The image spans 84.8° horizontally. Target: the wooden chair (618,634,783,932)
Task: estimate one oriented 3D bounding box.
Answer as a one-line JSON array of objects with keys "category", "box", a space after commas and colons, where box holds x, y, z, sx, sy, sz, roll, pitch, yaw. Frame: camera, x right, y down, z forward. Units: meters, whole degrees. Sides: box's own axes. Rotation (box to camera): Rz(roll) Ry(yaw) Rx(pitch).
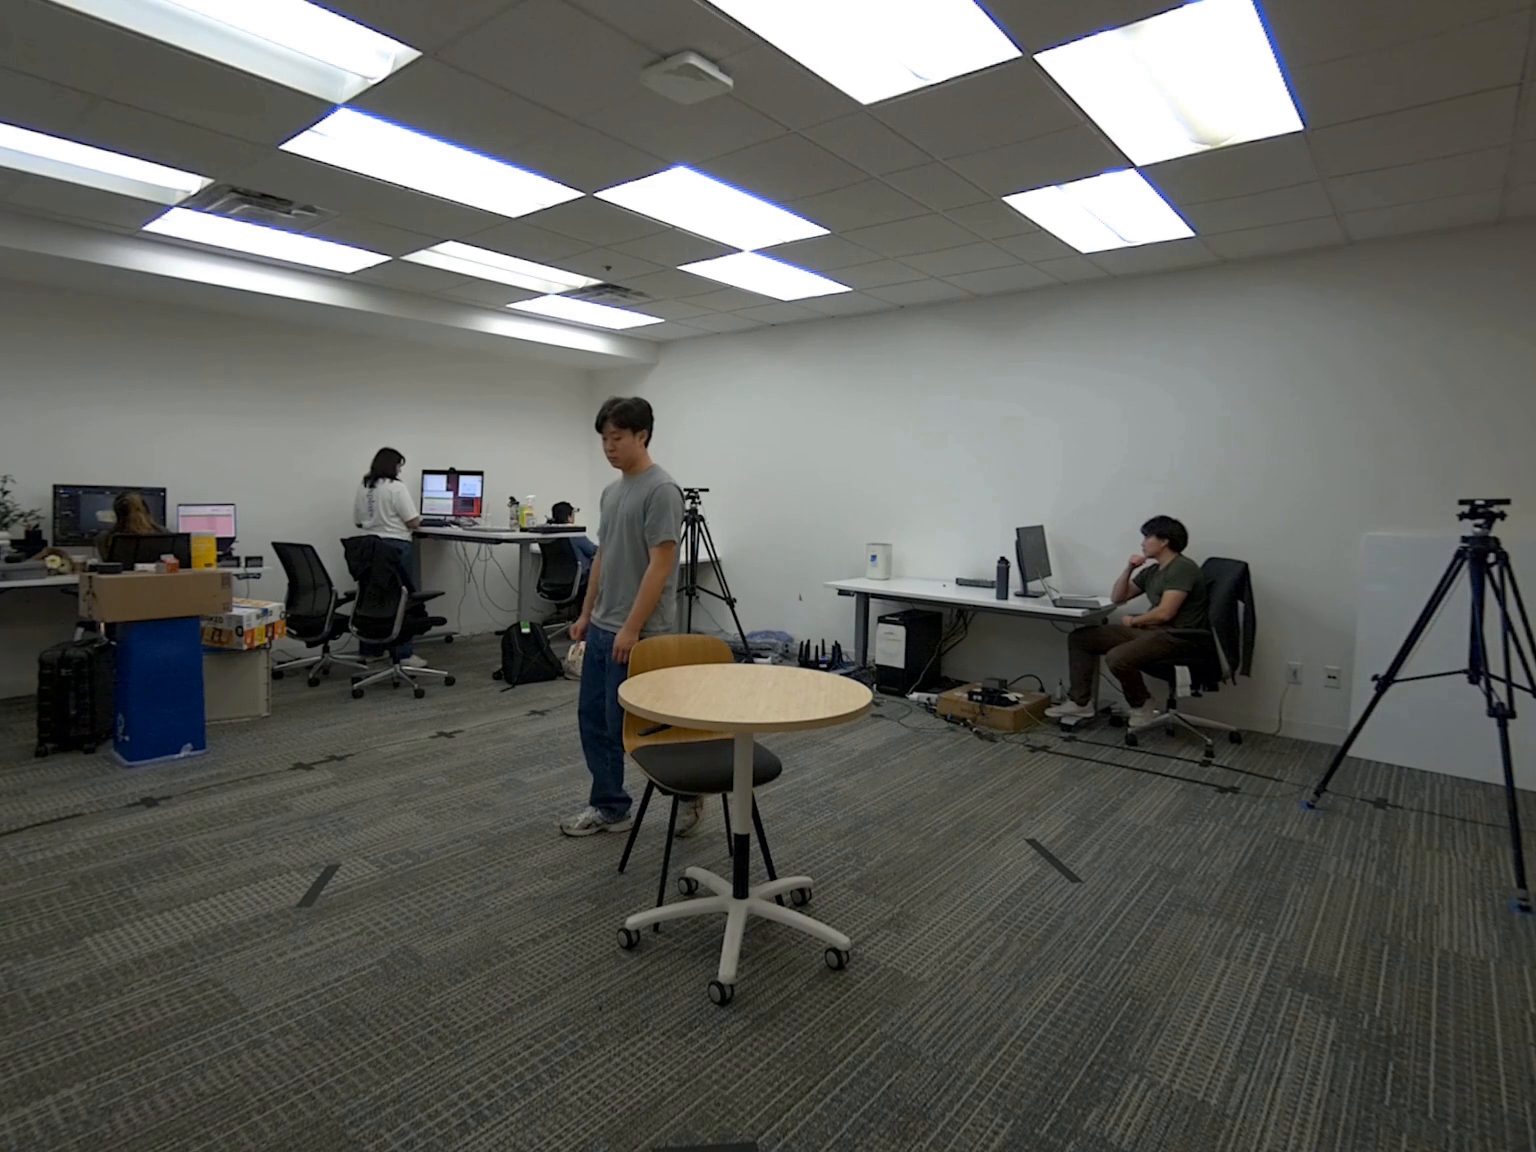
[{"category": "wooden chair", "box": [-0.244, 0.658, 2.916, 0.467, 0.878, 0.535, 0, -1, -23]}]
